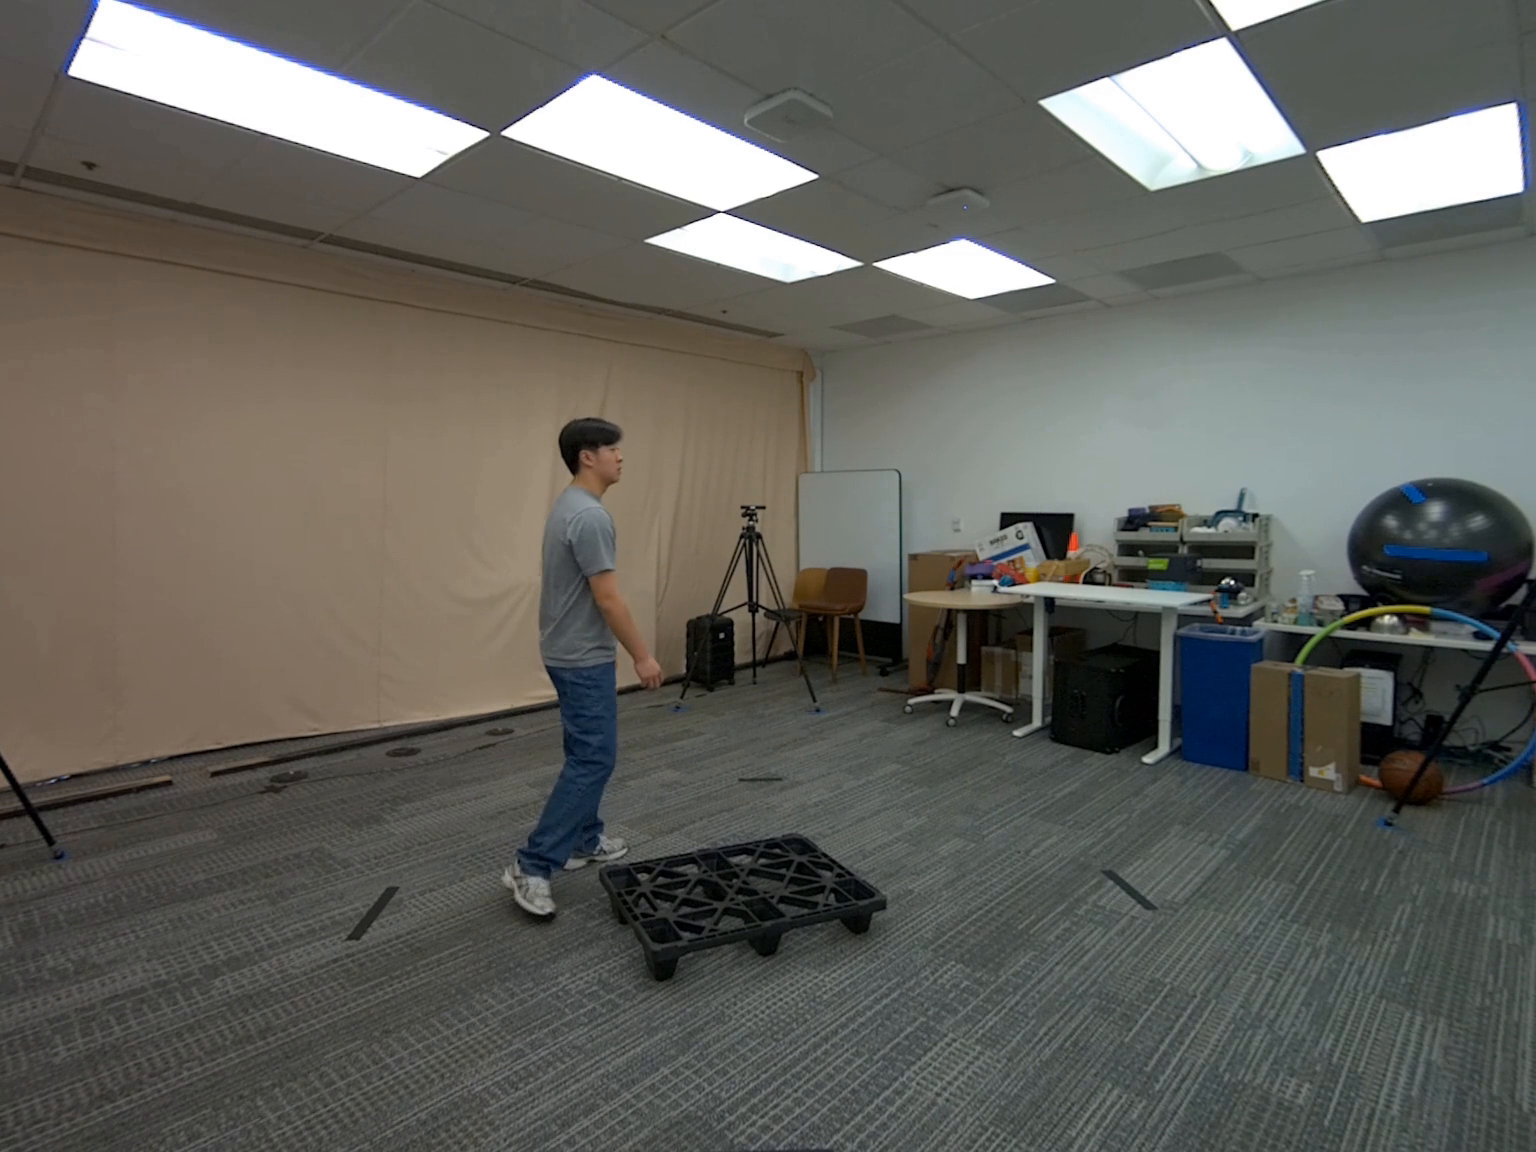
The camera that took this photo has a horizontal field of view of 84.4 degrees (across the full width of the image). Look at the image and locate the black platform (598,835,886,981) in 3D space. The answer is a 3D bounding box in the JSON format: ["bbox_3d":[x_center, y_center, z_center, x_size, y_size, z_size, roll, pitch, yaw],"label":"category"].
[{"bbox_3d":[-0.104,1.090,2.816,0.787,0.143,0.621,-2,4,-25],"label":"black platform"}]
